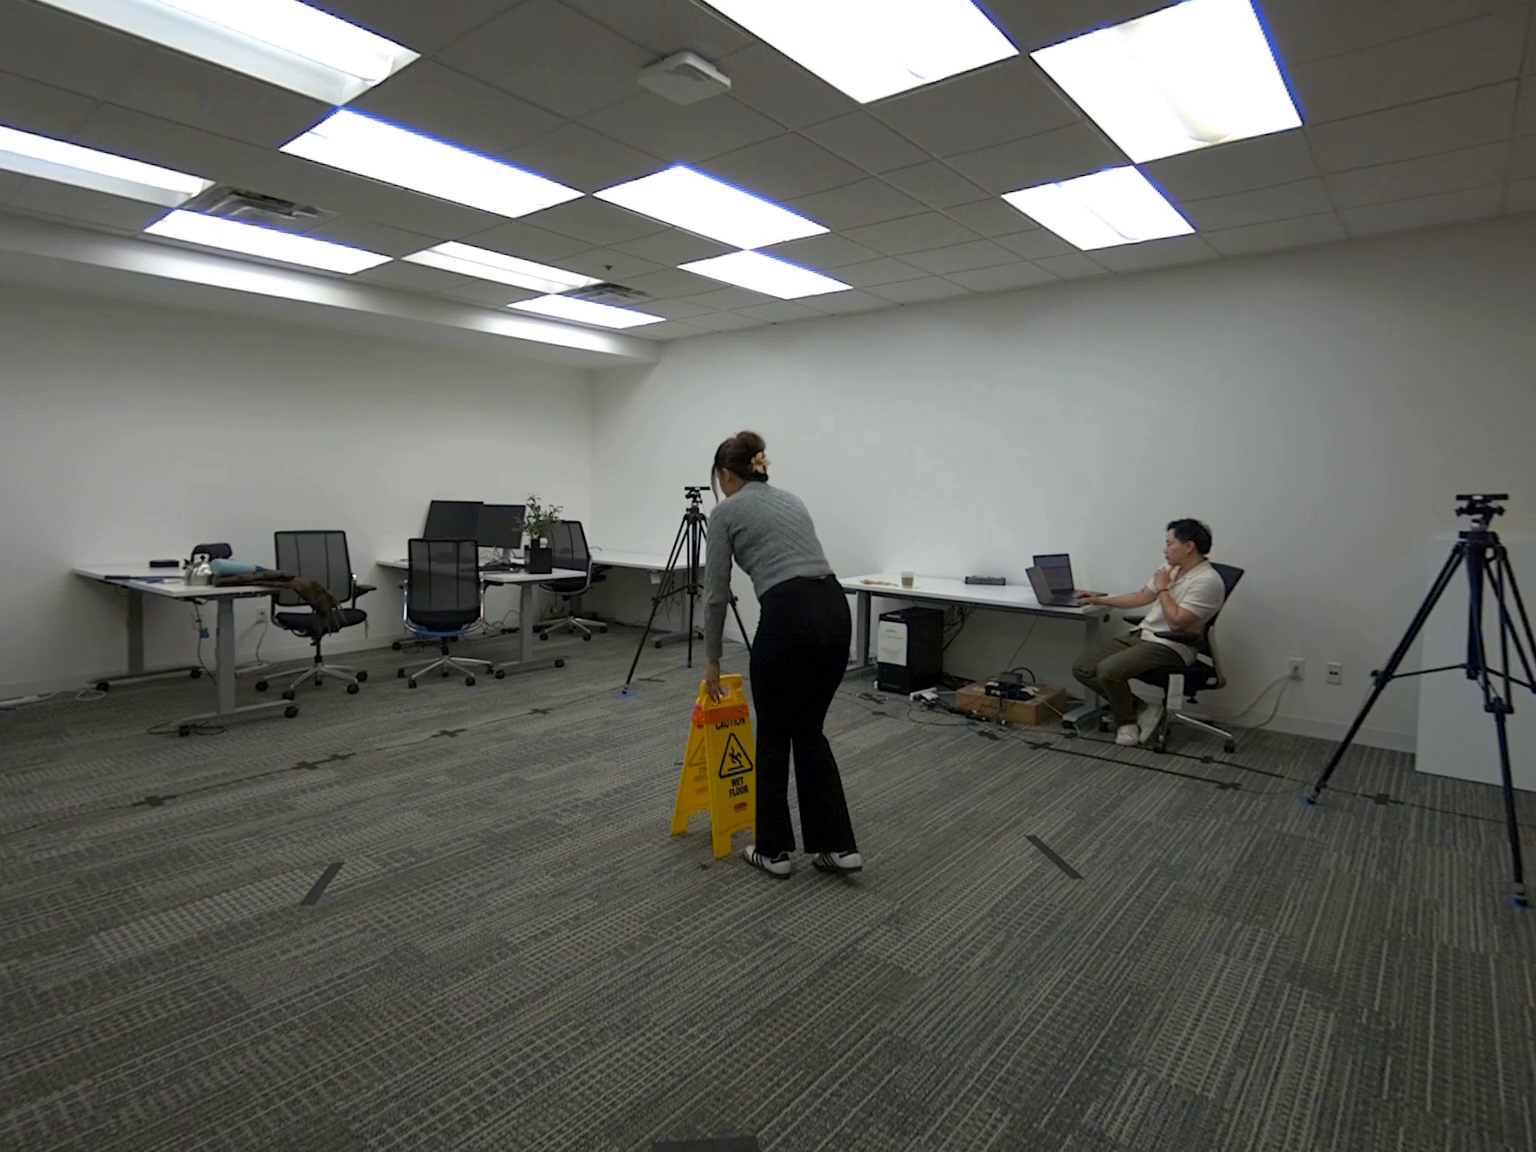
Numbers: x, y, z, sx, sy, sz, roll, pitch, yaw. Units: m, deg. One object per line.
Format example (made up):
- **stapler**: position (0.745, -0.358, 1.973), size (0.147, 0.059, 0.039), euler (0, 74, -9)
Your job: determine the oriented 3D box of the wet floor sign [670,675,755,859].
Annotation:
- **wet floor sign**: position (-0.200, 0.717, 3.368), size (0.273, 0.645, 0.299), euler (0, 2, -42)
